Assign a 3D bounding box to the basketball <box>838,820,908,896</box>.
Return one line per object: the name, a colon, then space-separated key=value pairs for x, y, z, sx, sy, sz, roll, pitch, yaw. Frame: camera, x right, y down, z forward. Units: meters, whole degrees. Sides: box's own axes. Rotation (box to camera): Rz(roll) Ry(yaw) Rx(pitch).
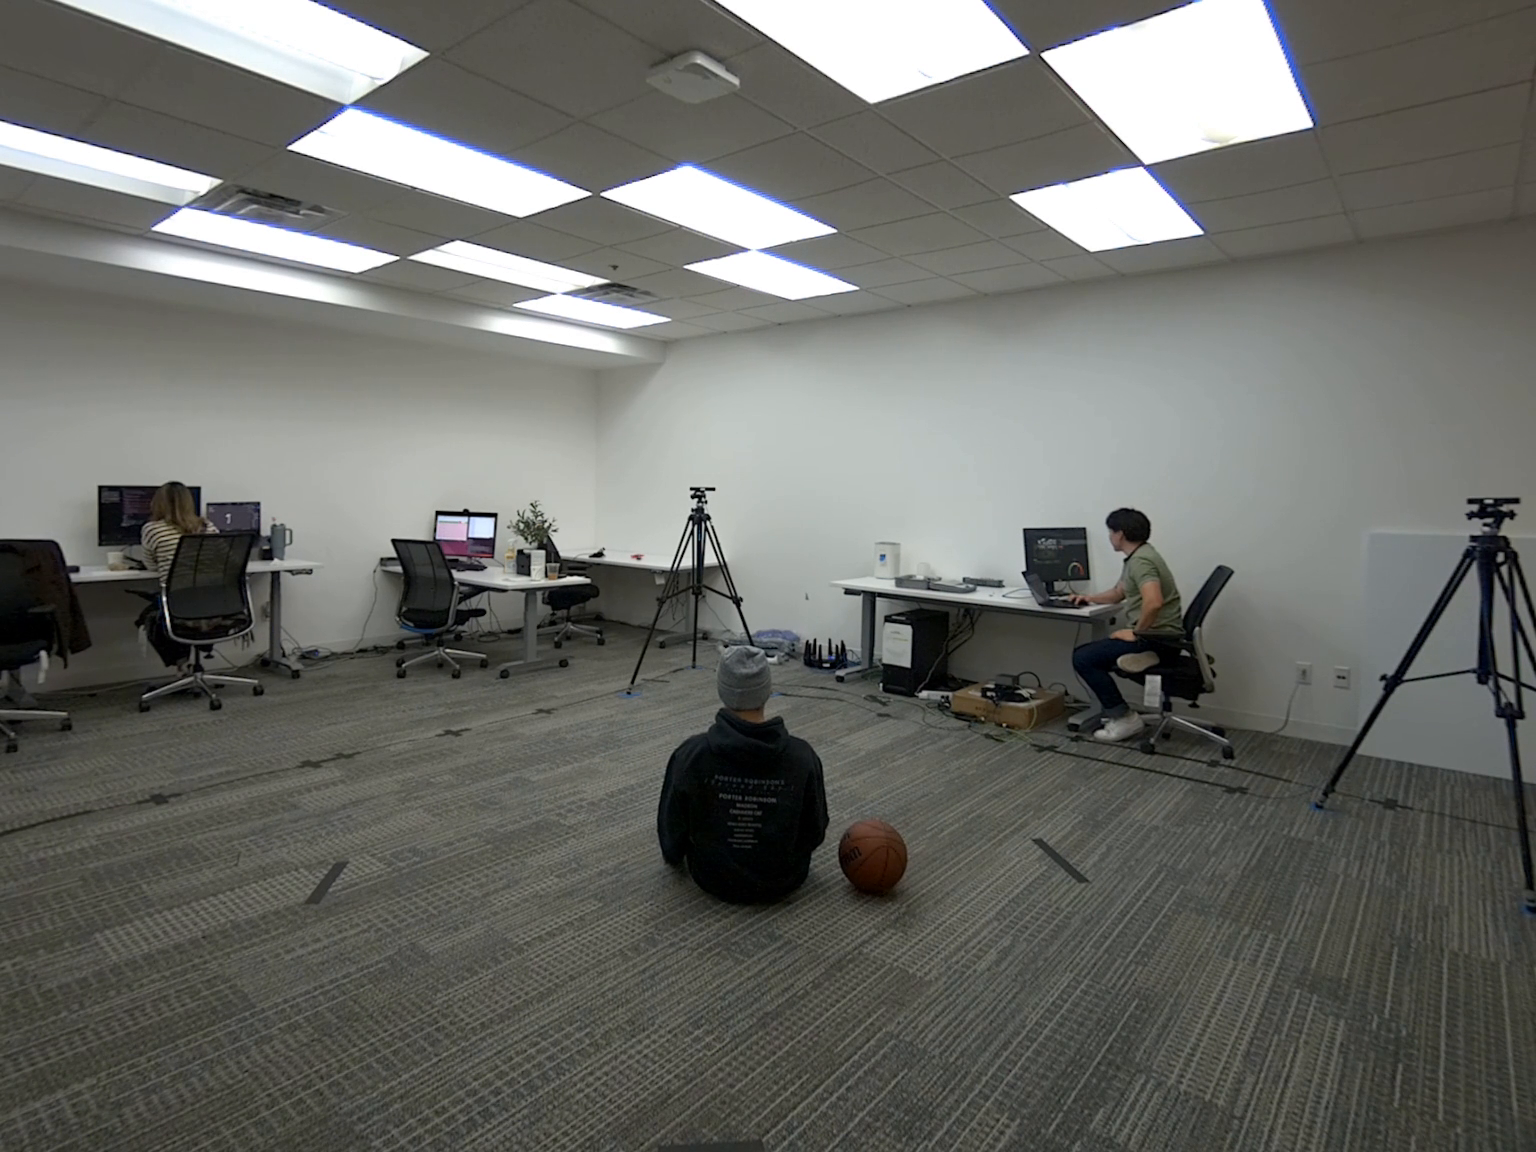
basketball: x=0.359 y=0.973 z=2.971 sx=0.235 sy=0.235 sz=0.237 roll=1 pitch=4 yaw=-2
